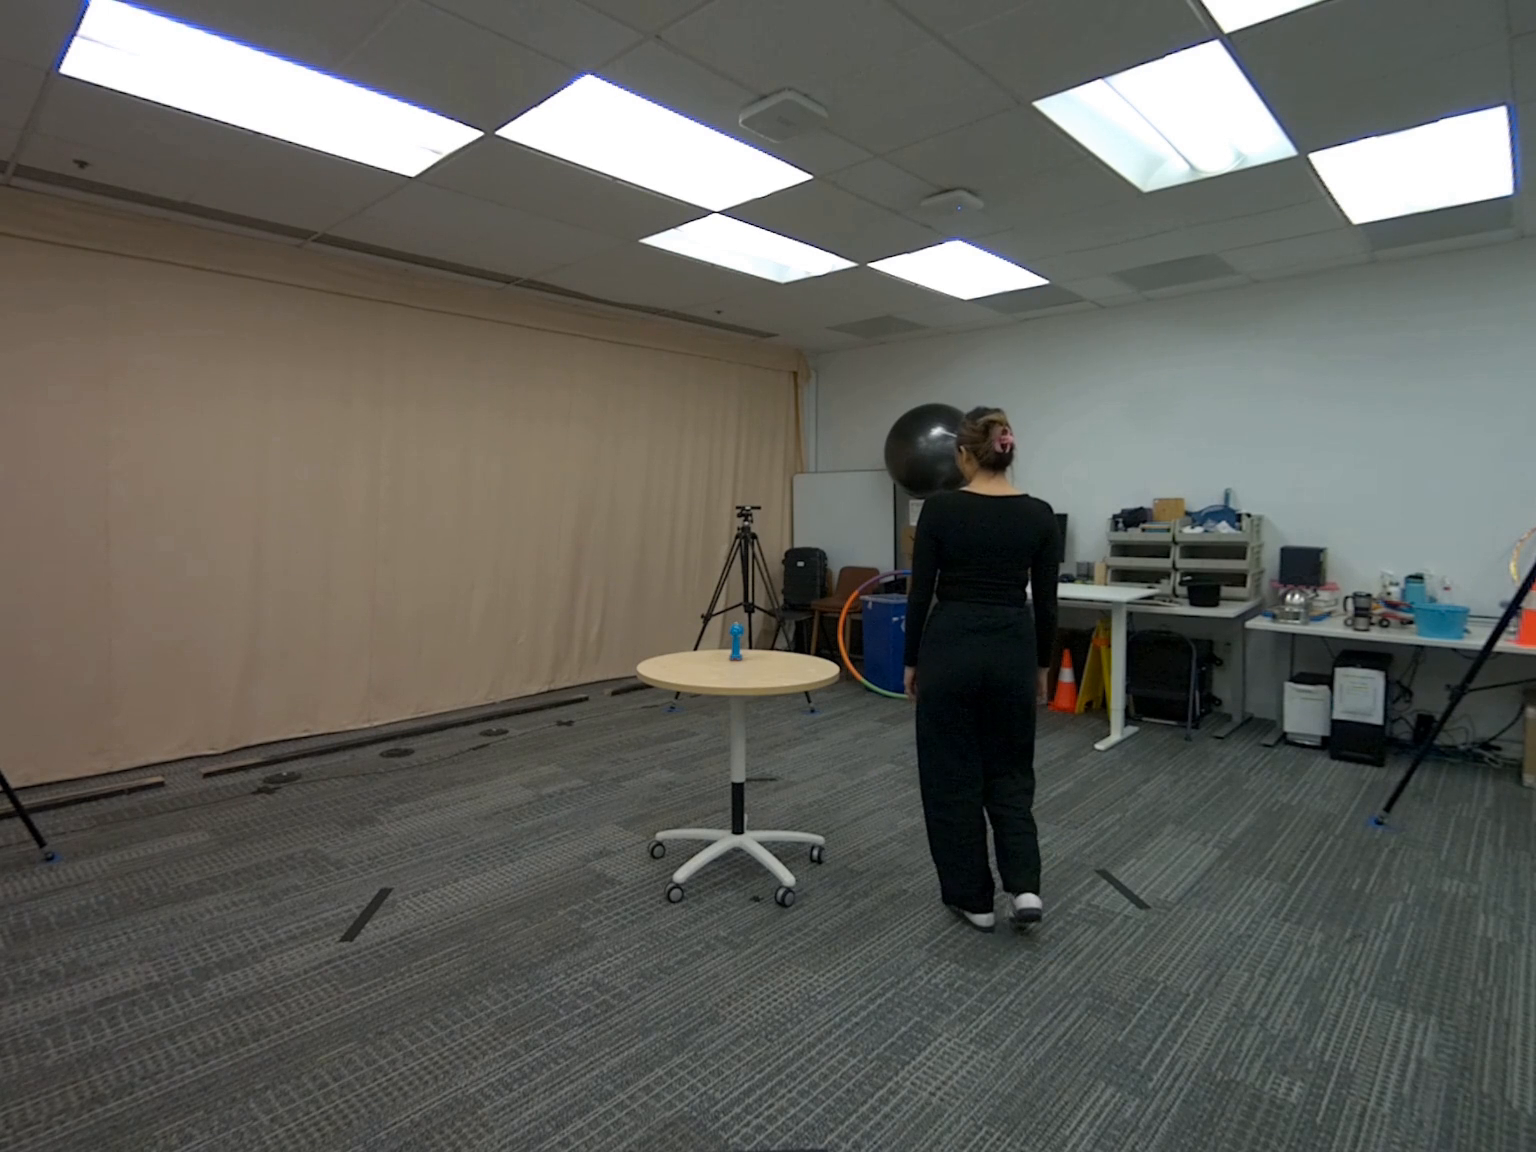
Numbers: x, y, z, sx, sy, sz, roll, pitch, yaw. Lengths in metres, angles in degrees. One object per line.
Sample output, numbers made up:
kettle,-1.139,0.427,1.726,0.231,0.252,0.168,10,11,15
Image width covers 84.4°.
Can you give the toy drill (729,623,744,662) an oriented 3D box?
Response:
toy drill,-0.123,0.256,3.376,0.061,0.145,0.170,2,5,-3
